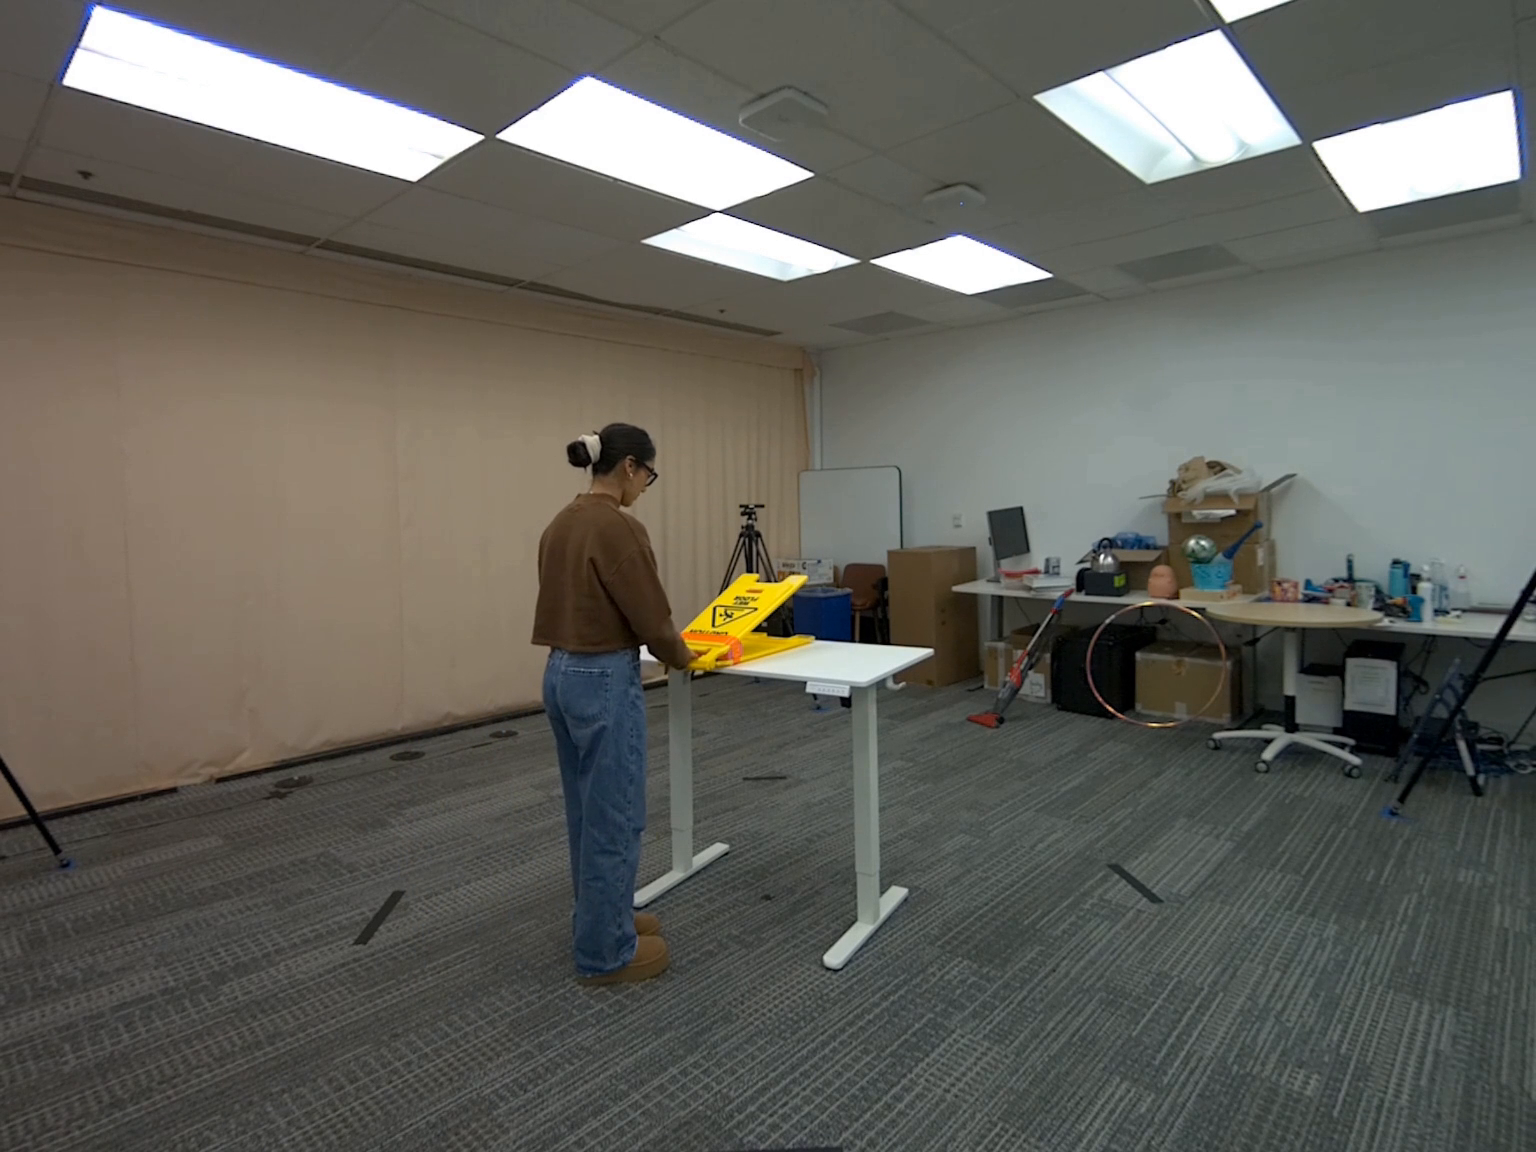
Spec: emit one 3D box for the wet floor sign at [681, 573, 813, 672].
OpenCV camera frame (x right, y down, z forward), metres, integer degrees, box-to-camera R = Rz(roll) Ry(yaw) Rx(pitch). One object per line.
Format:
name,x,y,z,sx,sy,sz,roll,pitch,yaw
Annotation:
wet floor sign,-0.111,0.199,2.887,0.290,0.287,0.633,1,13,30
